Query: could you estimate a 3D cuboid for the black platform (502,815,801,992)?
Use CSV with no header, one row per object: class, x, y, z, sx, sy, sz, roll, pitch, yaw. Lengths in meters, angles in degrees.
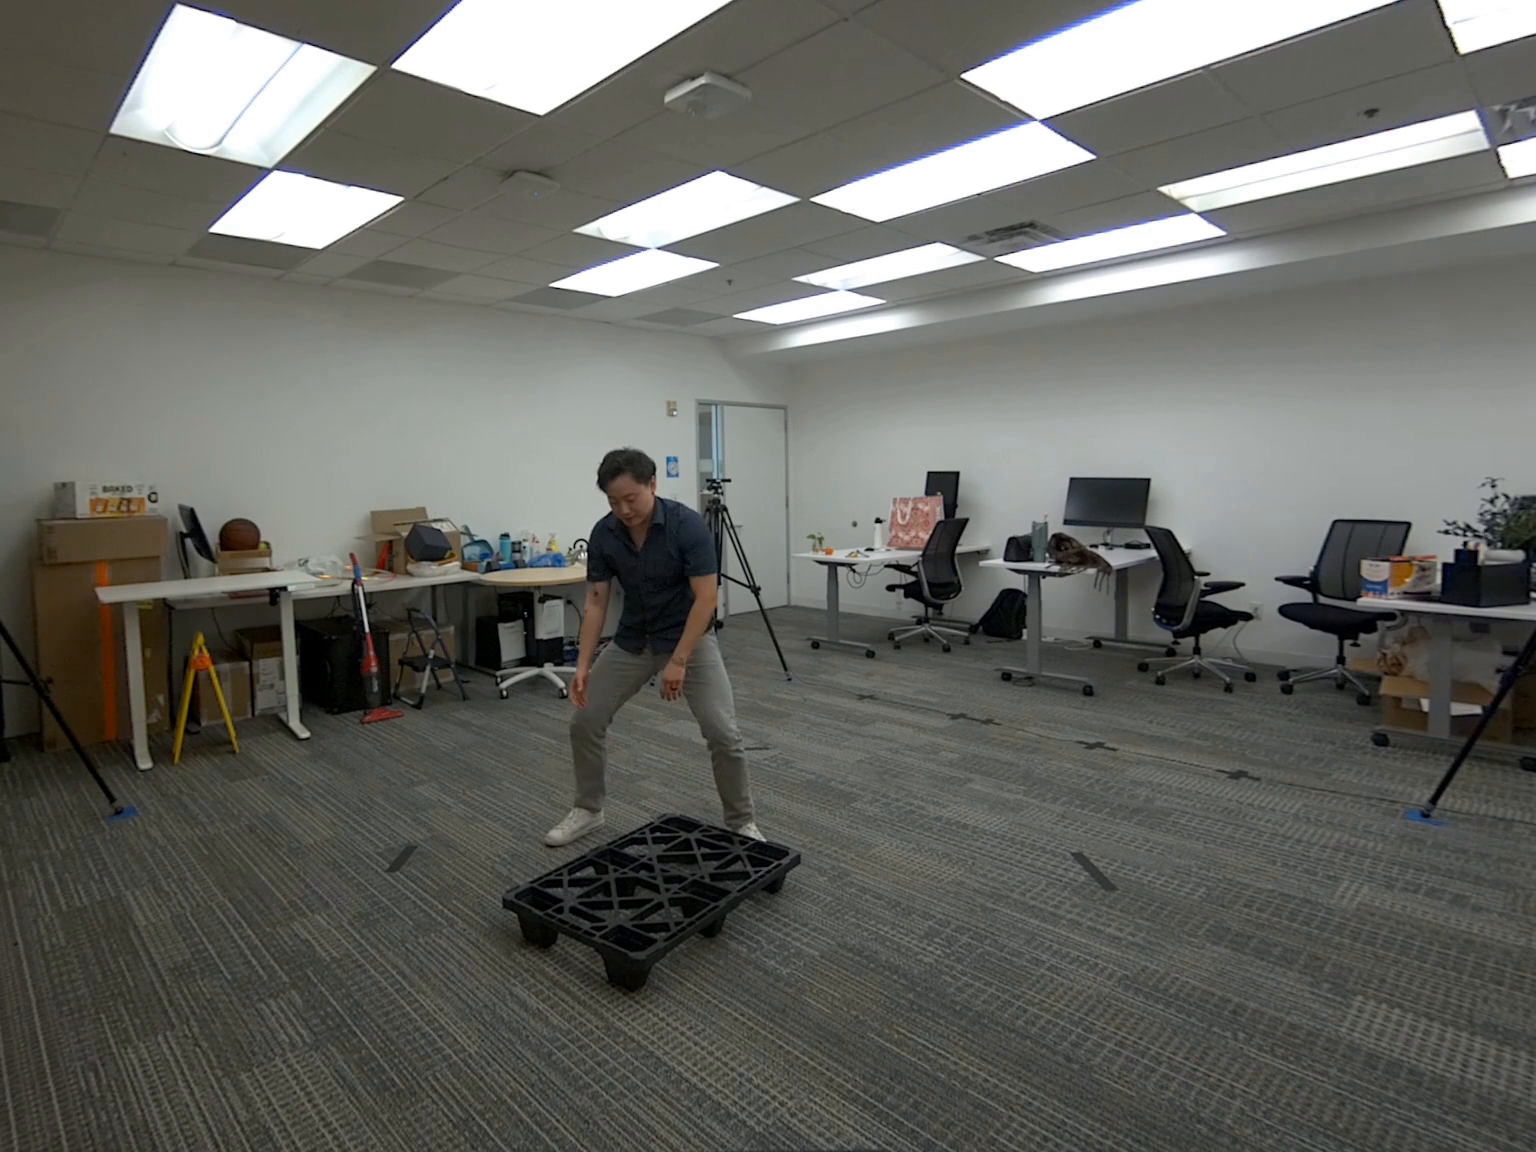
black platform,-0.352,1.026,2.758,0.623,0.142,0.786,3,8,36
